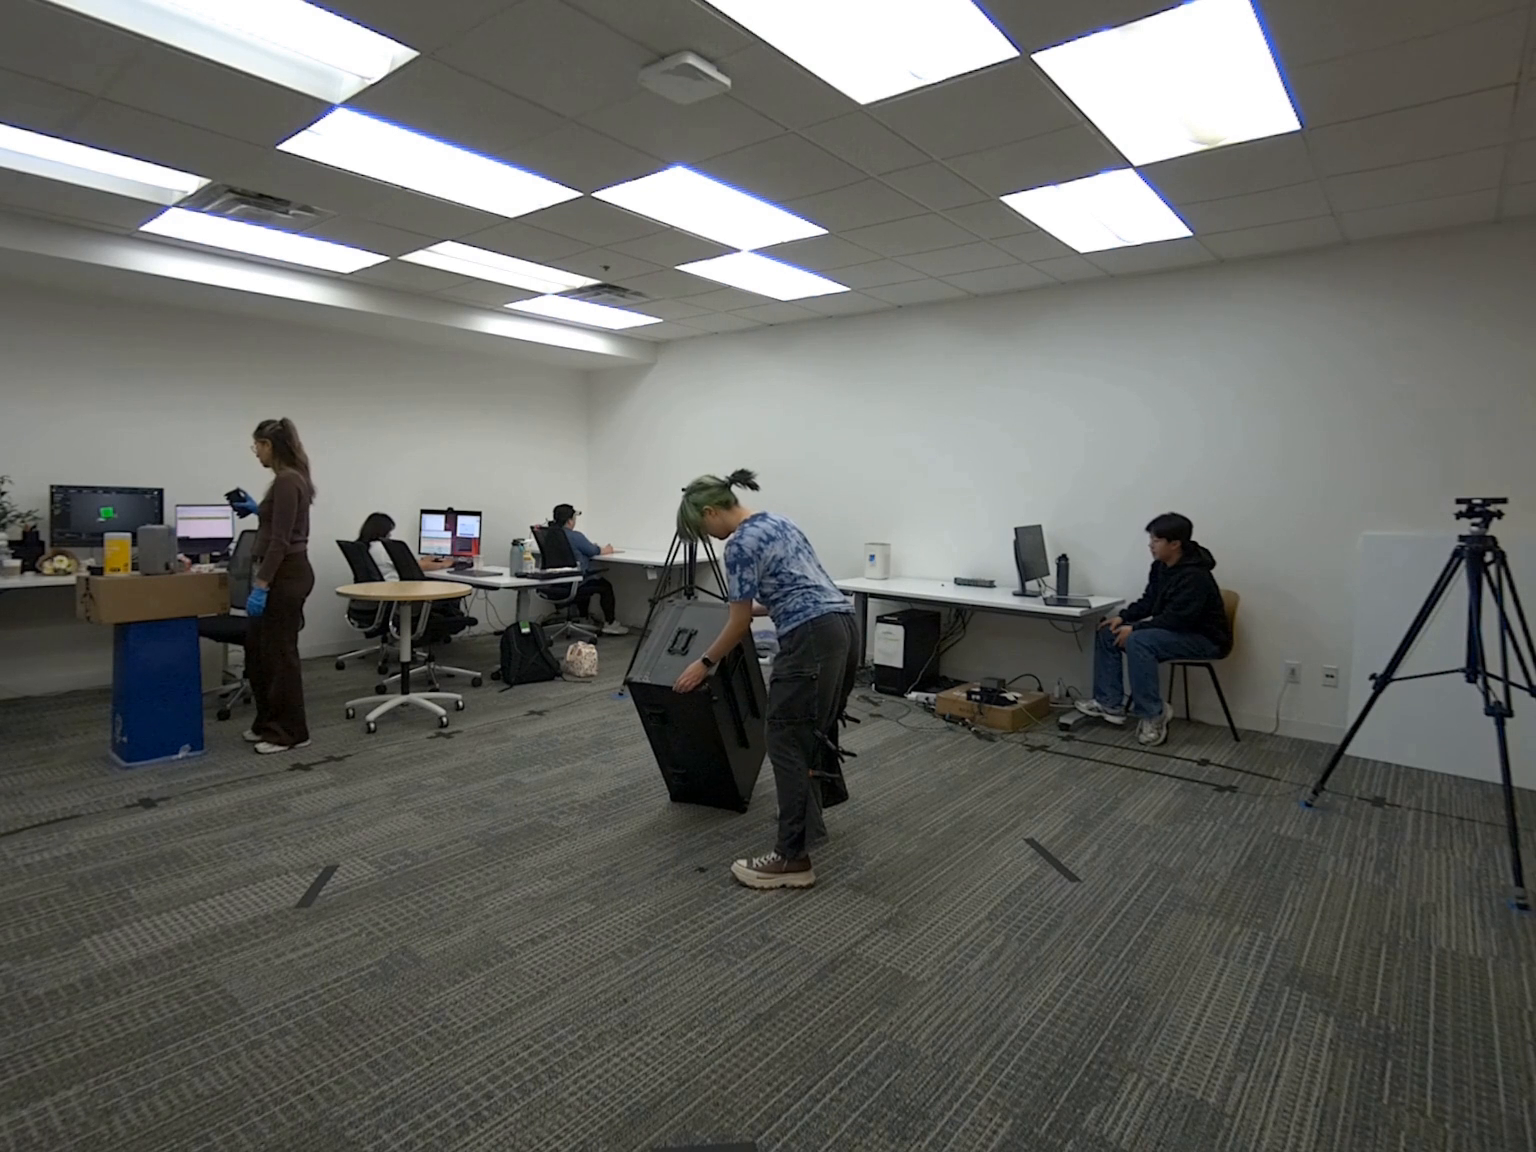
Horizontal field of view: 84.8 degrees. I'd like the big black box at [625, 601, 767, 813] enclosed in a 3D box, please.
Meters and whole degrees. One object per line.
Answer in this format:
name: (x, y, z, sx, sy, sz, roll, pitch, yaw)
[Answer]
big black box: (-0.261, 0.581, 3.688, 0.405, 0.832, 0.527, 3, 41, 21)
